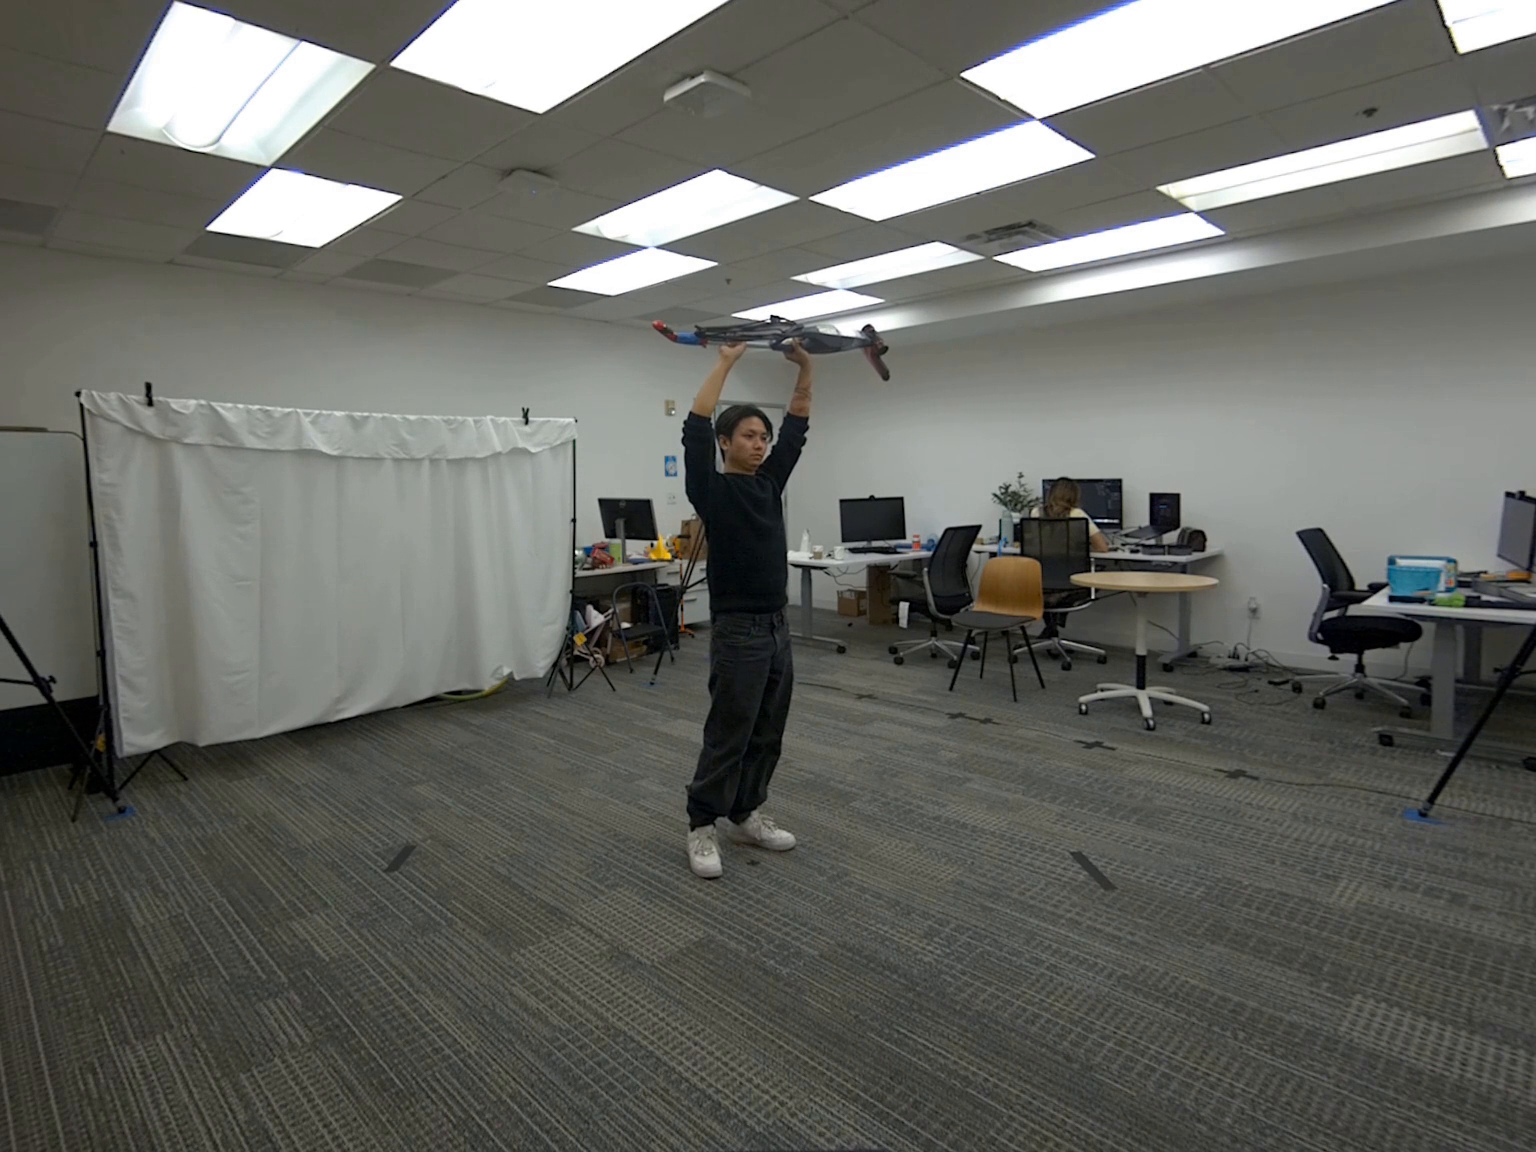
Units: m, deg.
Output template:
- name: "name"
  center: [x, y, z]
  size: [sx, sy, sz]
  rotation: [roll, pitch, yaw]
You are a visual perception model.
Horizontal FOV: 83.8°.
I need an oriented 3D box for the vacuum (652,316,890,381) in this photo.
- name: "vacuum"
  center: [0.039, -0.867, 3.088]
  size: [1.022, 0.260, 0.143]
  rotation: [-6, -34, -39]
